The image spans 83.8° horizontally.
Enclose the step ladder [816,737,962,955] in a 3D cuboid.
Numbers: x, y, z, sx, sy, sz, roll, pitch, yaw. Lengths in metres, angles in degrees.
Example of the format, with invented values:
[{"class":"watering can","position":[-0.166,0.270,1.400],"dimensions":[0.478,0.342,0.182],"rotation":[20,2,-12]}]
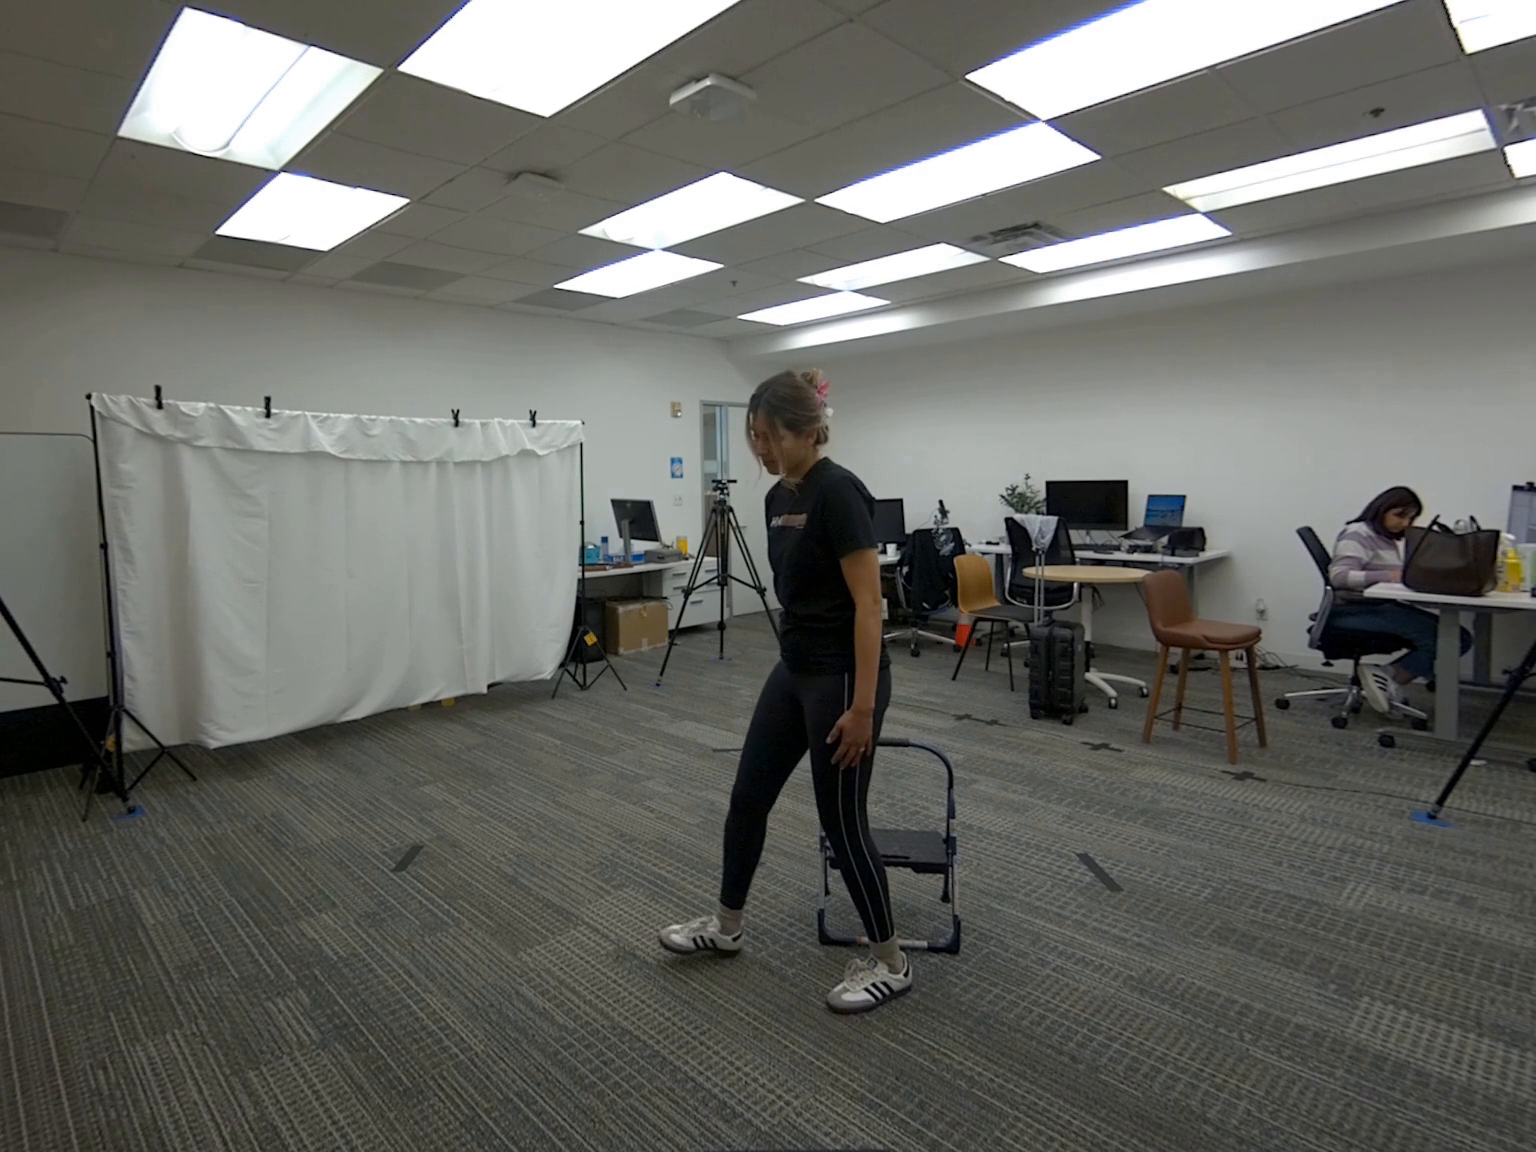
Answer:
[{"class":"step ladder","position":[0.375,0.789,2.678],"dimensions":[0.434,0.604,0.348],"rotation":[0,4,7]}]
